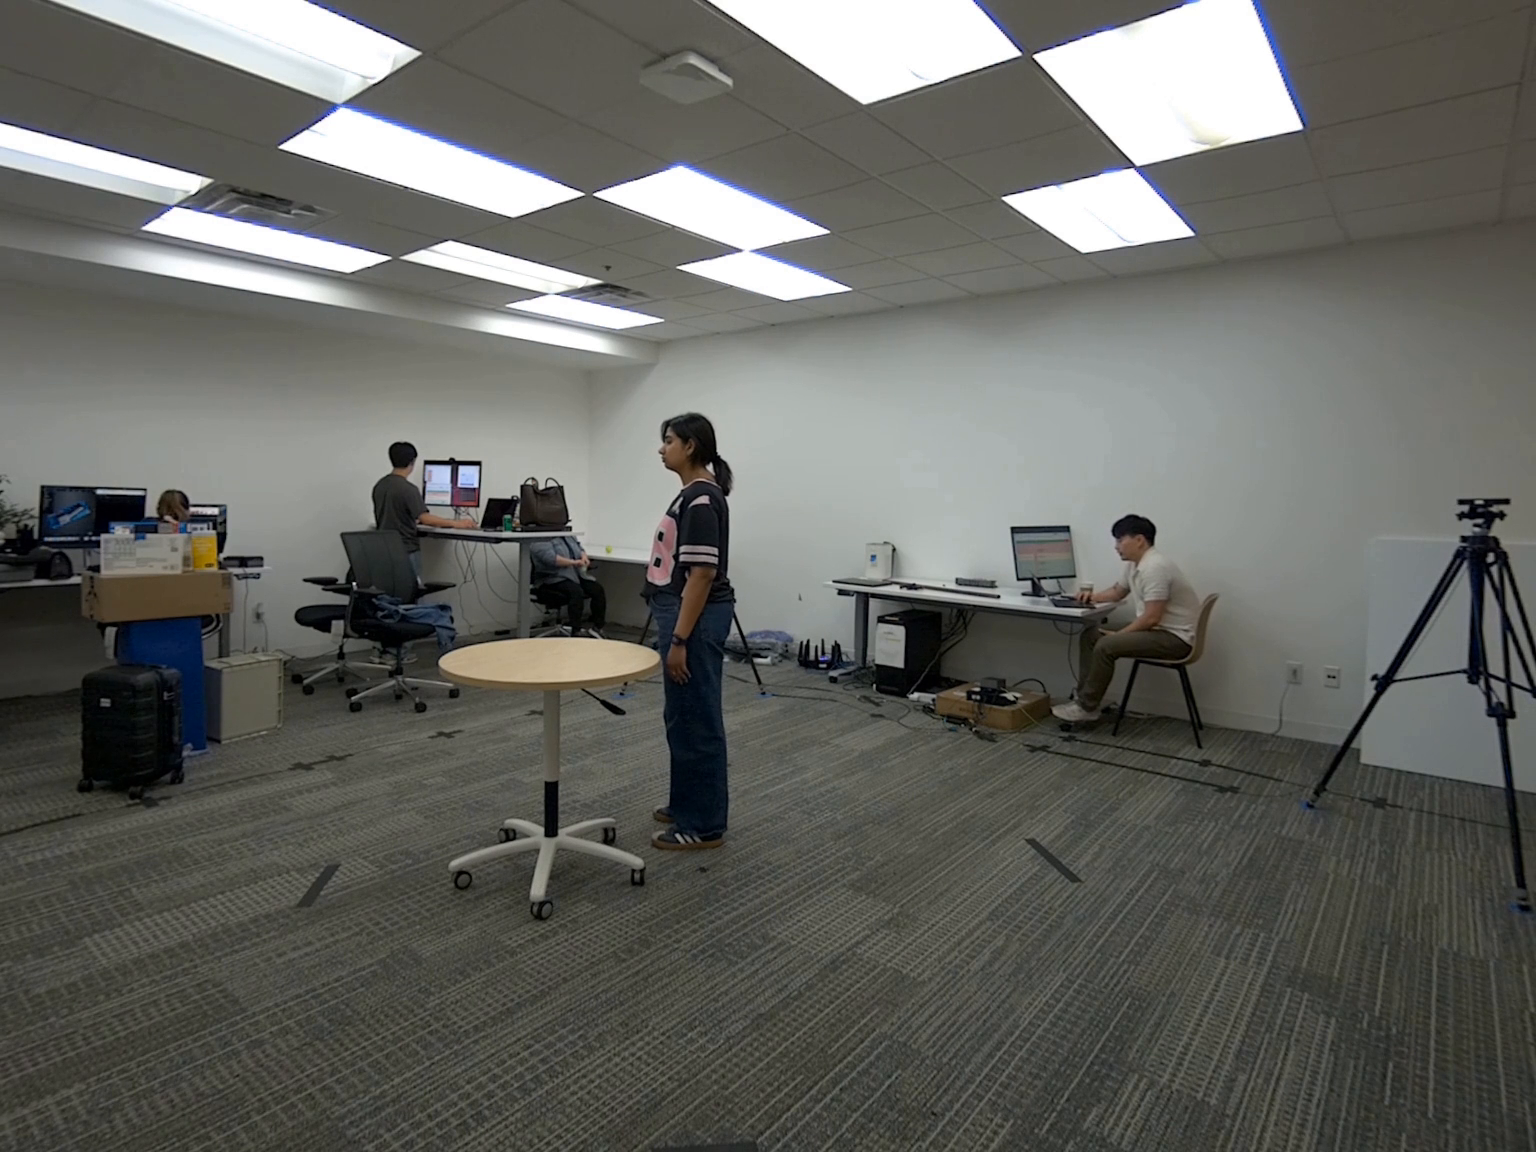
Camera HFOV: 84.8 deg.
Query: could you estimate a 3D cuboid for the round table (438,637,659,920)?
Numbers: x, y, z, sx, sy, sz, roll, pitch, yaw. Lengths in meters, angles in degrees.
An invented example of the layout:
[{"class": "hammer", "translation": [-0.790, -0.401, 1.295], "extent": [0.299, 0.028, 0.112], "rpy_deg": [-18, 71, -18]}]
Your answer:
[{"class": "round table", "translation": [-0.784, 0.678, 3.033], "extent": [0.763, 0.791, 0.768], "rpy_deg": [1, 4, -2]}]
